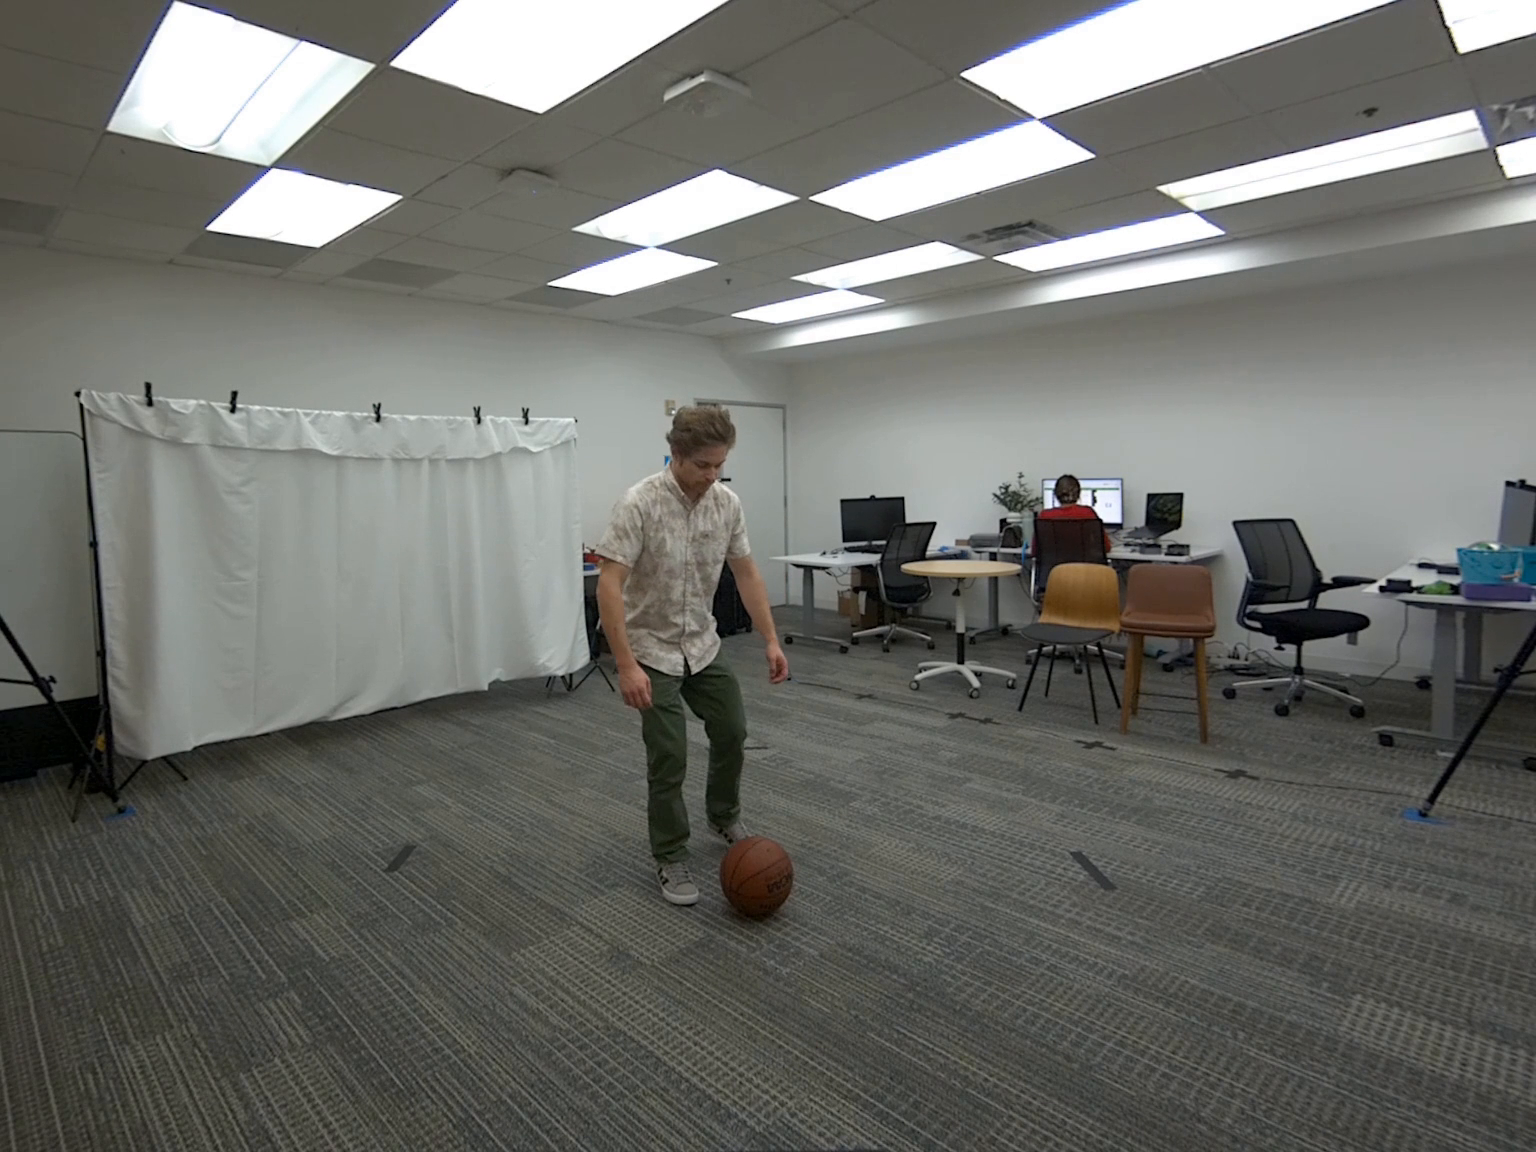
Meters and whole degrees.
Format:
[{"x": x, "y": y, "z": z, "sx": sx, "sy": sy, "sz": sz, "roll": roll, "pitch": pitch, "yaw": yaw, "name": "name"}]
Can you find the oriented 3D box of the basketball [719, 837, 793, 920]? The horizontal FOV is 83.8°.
[{"x": -0.033, "y": 0.961, "z": 2.754, "sx": 0.236, "sy": 0.235, "sz": 0.237, "roll": -1, "pitch": 5, "yaw": -2, "name": "basketball"}]
